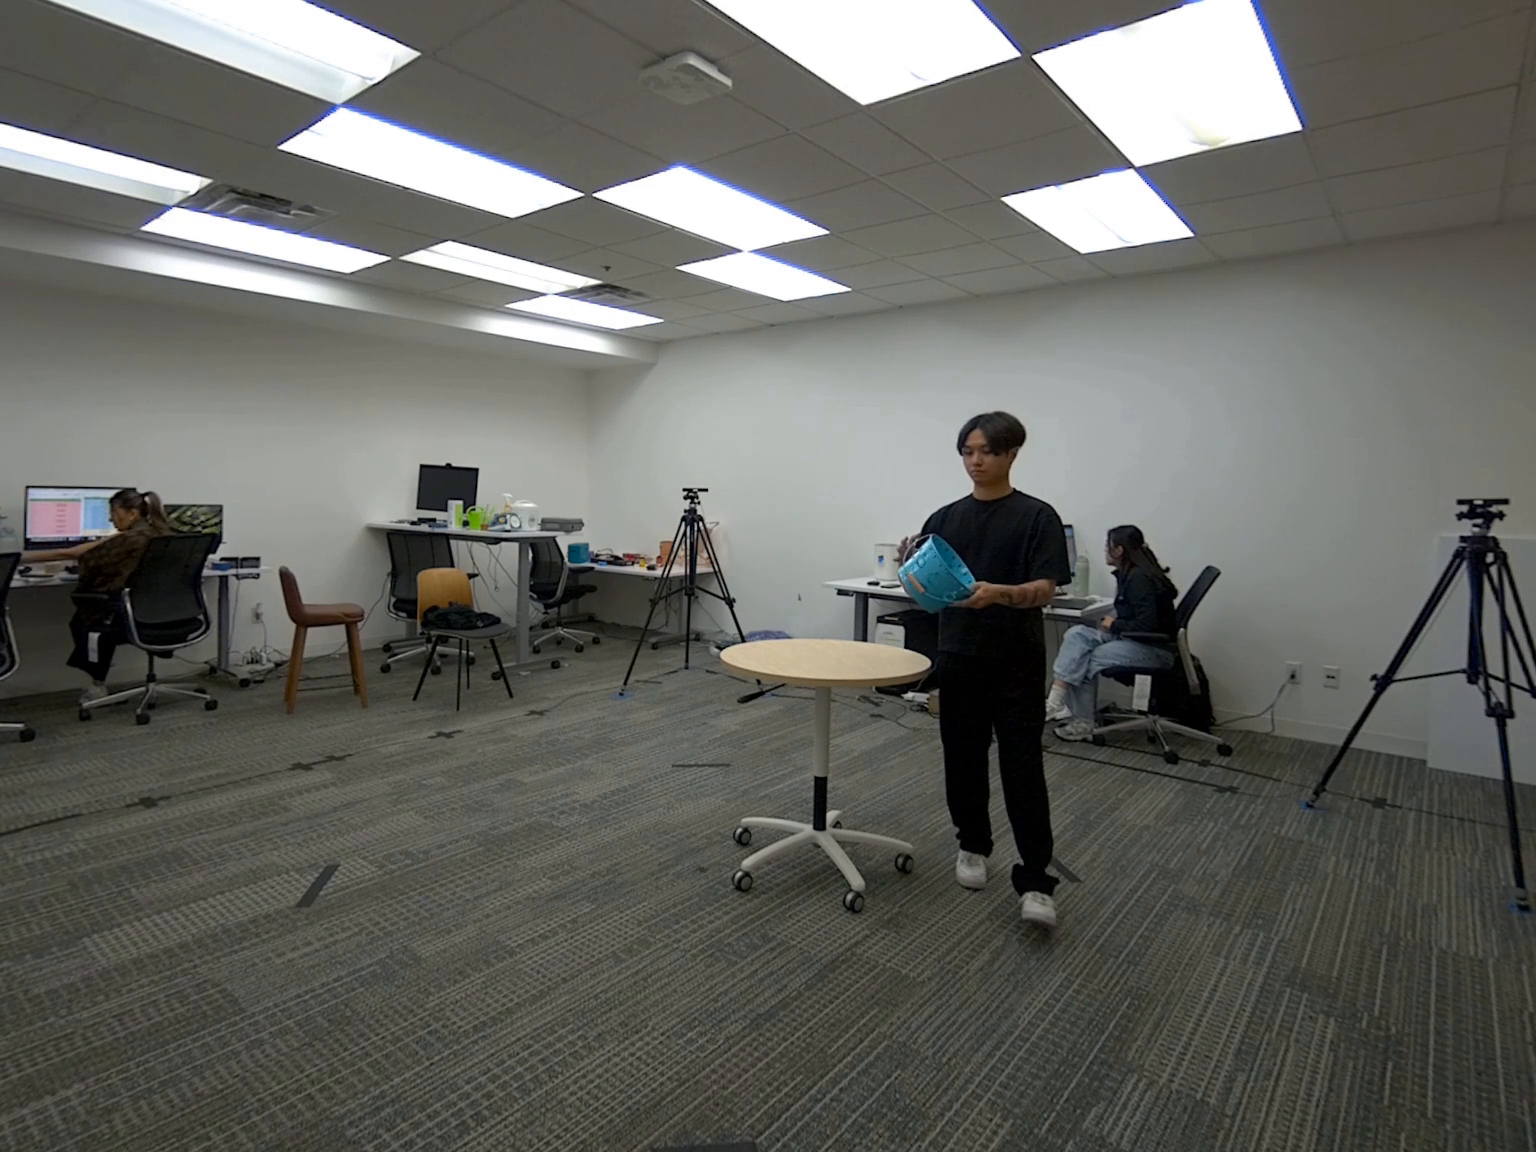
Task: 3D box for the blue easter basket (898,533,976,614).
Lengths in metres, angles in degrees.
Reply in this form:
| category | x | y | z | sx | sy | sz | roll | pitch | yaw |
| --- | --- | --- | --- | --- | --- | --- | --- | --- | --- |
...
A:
| category | x | y | z | sx | sy | sz | roll | pitch | yaw |
| --- | --- | --- | --- | --- | --- | --- | --- | --- | --- |
| blue easter basket | 0.530 | -0.005 | 2.725 | 0.156 | 0.249 | 0.238 | -43 | -15 | 22 |
